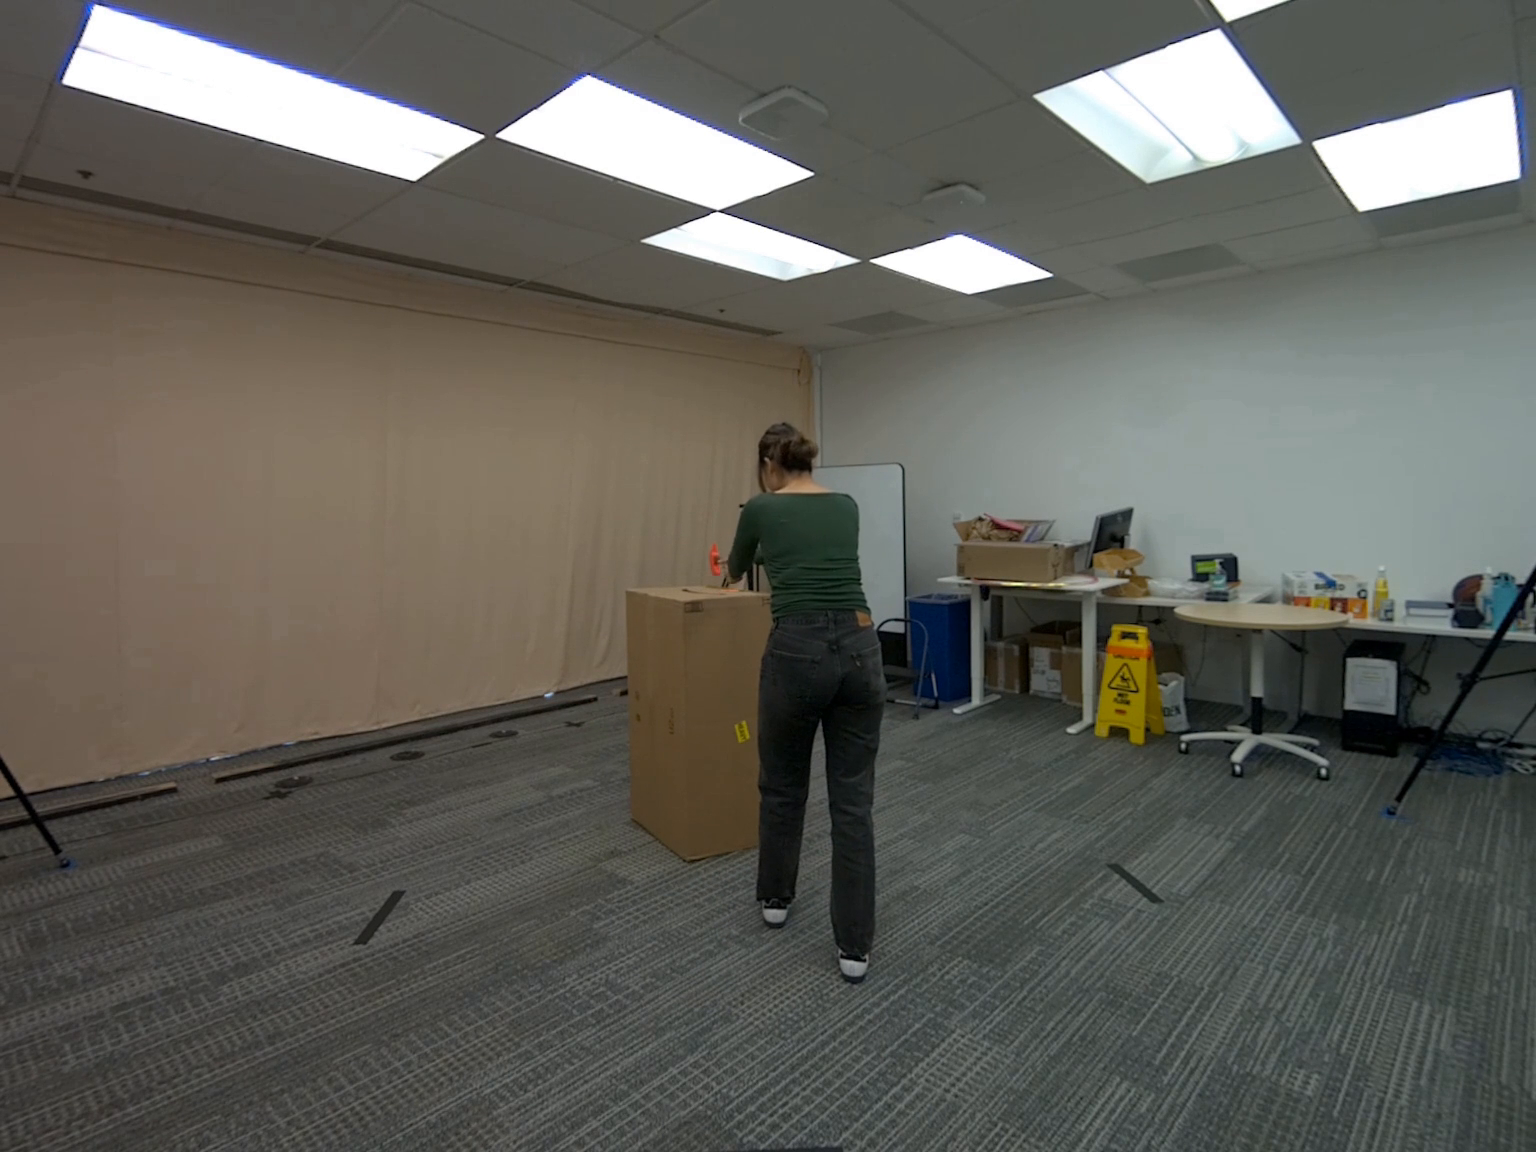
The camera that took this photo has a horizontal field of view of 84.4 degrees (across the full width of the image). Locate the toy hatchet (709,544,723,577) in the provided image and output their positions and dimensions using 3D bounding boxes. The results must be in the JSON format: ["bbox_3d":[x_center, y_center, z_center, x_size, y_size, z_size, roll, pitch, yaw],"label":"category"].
[{"bbox_3d":[-0.168,-0.031,3.317,0.029,0.130,0.279,2,25,-26],"label":"toy hatchet"}]
